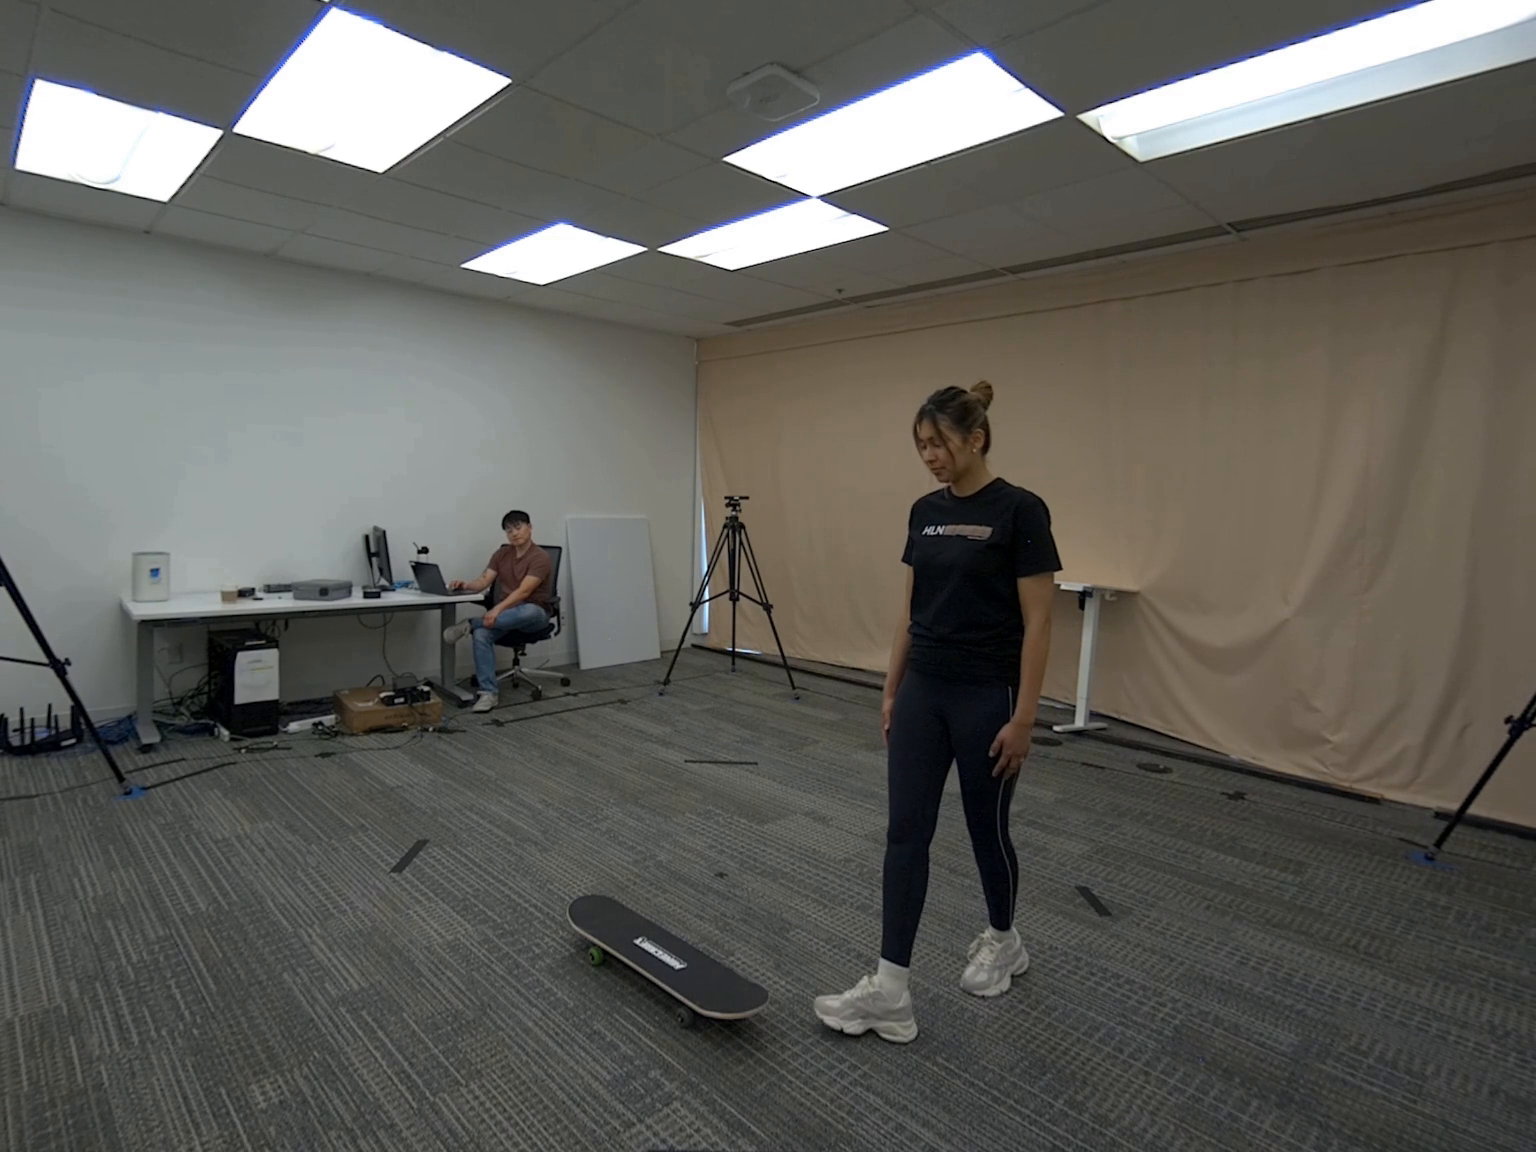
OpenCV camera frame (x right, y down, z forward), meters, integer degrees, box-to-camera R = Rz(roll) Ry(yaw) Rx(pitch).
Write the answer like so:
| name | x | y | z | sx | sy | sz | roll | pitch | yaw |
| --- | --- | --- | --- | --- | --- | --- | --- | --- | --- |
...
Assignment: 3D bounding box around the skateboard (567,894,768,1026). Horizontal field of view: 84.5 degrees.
| name | x | y | z | sx | sy | sz | roll | pitch | yaw |
| --- | --- | --- | --- | --- | --- | --- | --- | --- | --- |
| skateboard | -0.323 | 1.112 | 2.405 | 0.806 | 0.110 | 0.189 | 7 | 6 | 44 |
